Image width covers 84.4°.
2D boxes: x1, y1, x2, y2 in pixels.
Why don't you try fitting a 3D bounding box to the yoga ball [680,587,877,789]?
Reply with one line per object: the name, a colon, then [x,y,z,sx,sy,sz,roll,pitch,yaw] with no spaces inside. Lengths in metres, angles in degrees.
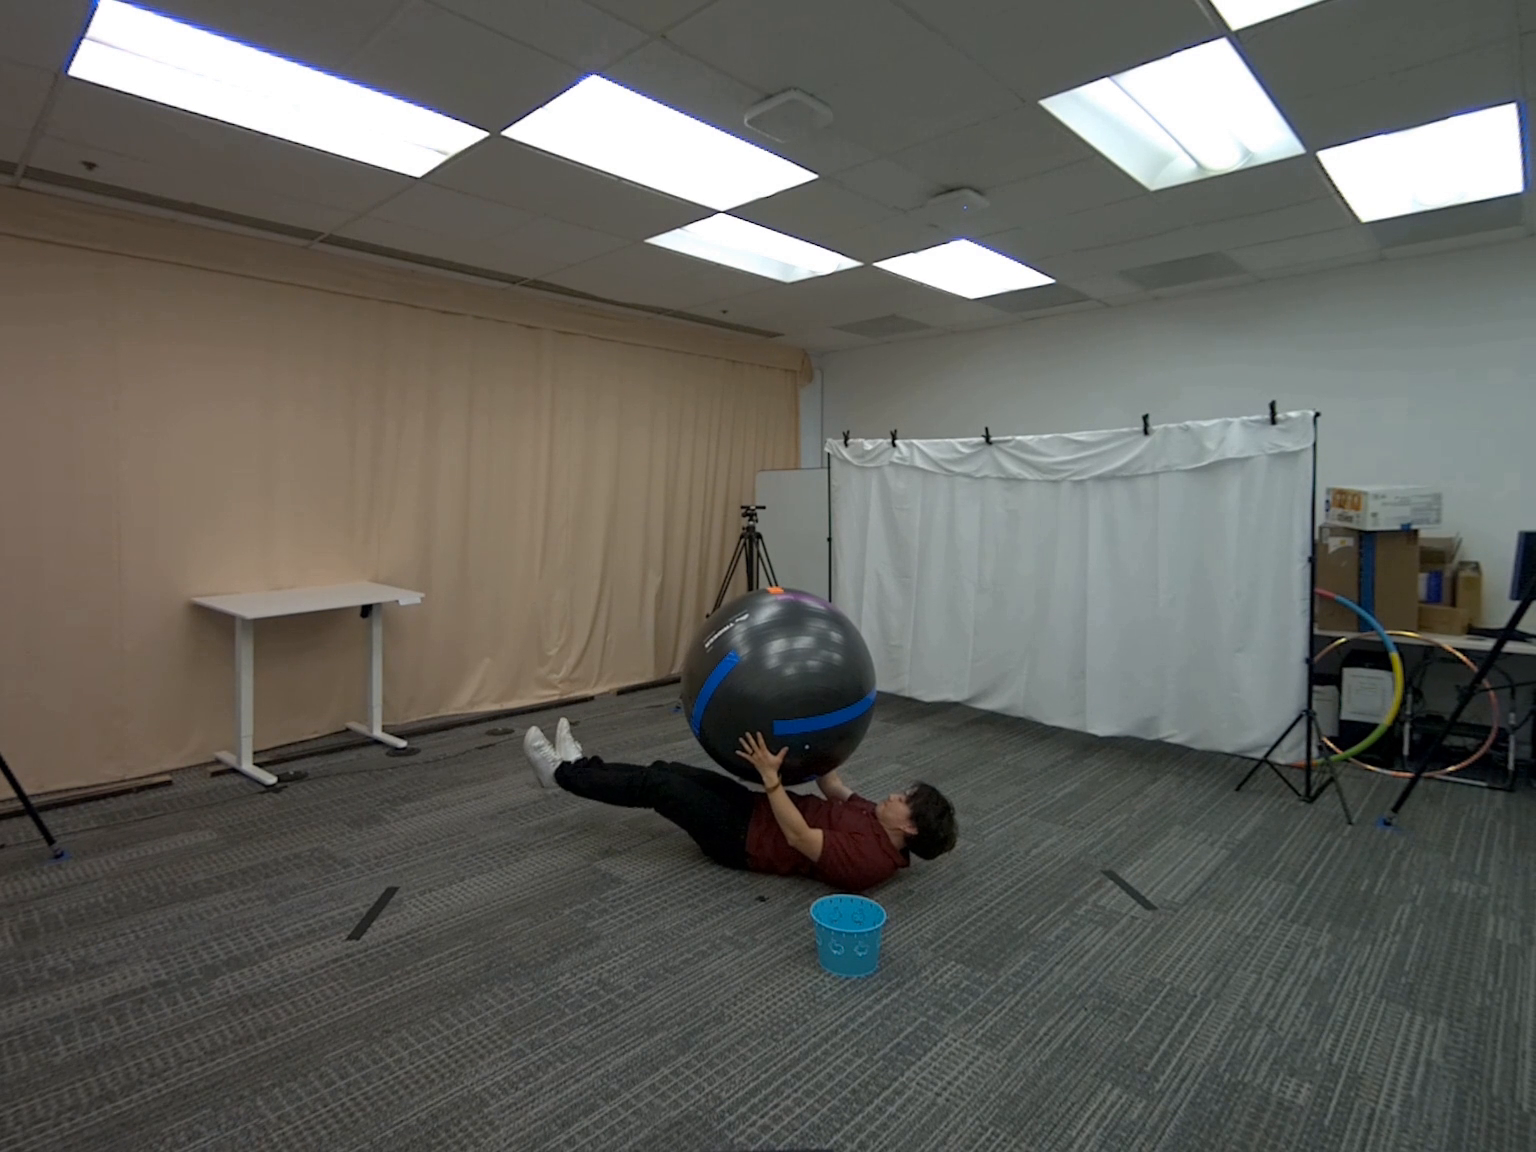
yoga ball: [0.039,0.426,3.290,0.757,0.756,0.760,0,4,-2]
